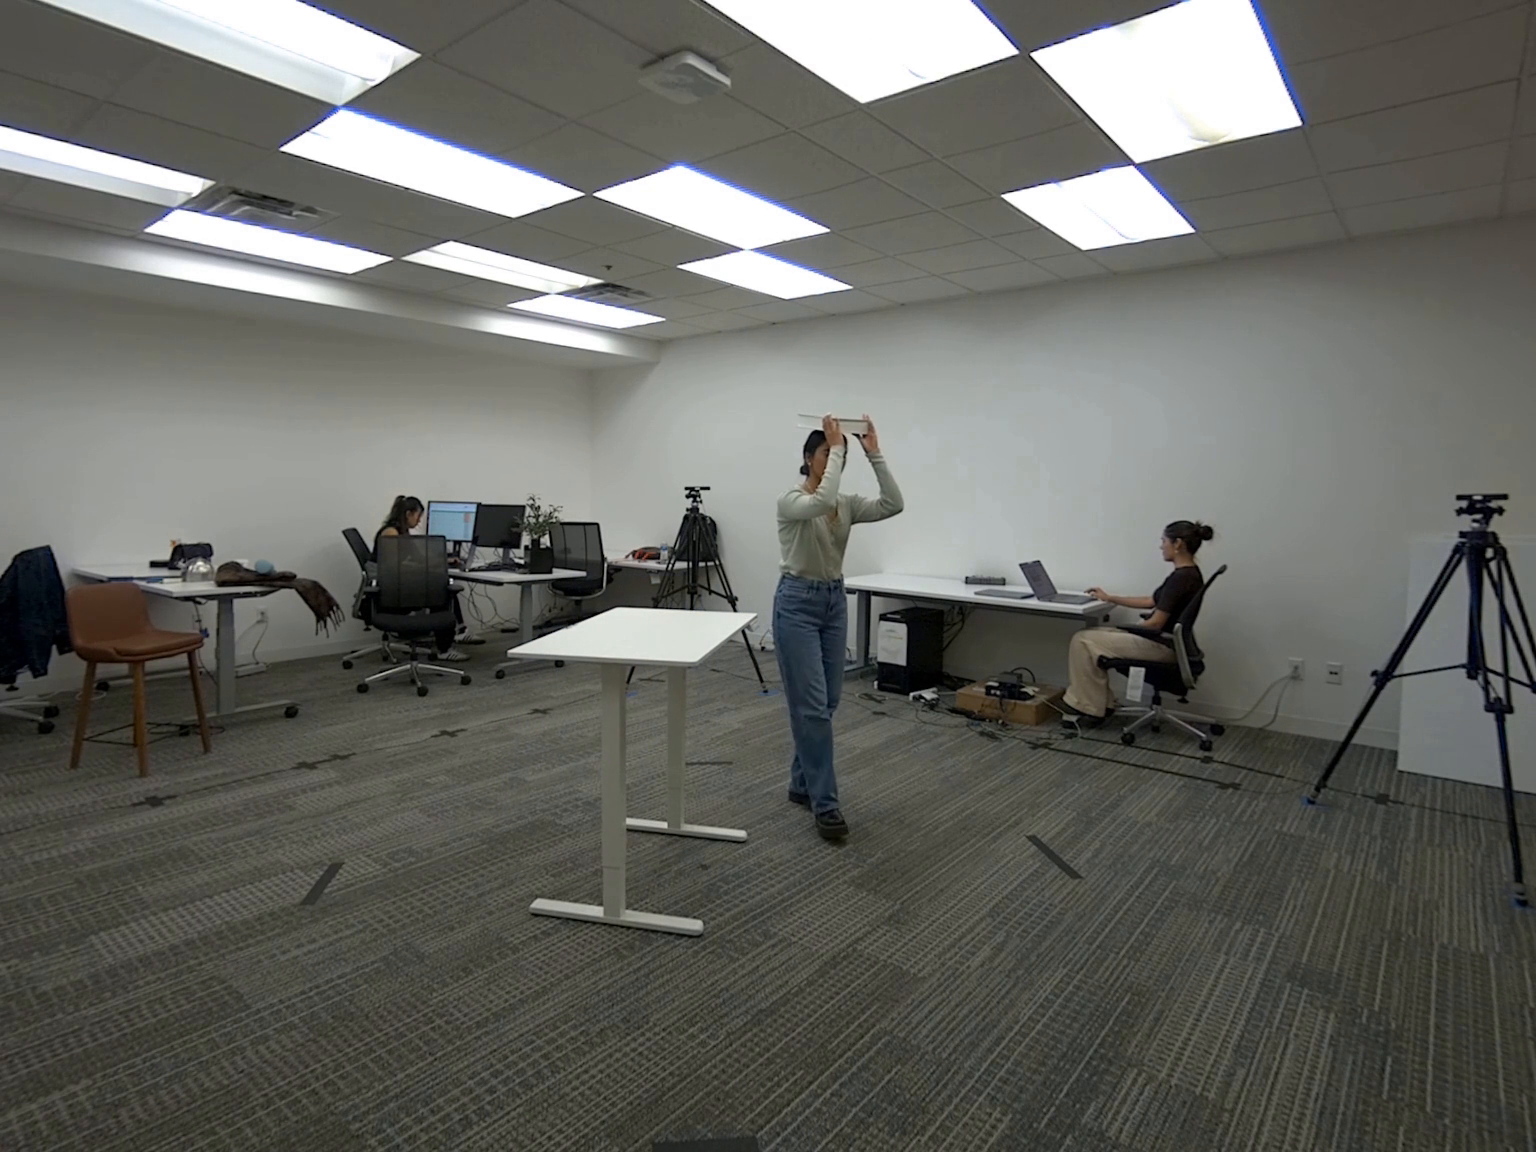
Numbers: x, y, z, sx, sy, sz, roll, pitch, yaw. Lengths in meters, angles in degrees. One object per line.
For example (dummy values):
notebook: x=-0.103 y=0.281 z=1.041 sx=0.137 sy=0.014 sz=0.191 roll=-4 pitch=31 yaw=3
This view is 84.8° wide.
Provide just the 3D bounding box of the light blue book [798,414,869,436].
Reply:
light blue book: x=0.250 y=-0.645 z=3.574 sx=0.186 sy=0.058 sz=0.270 roll=-1 pitch=12 yaw=-27
